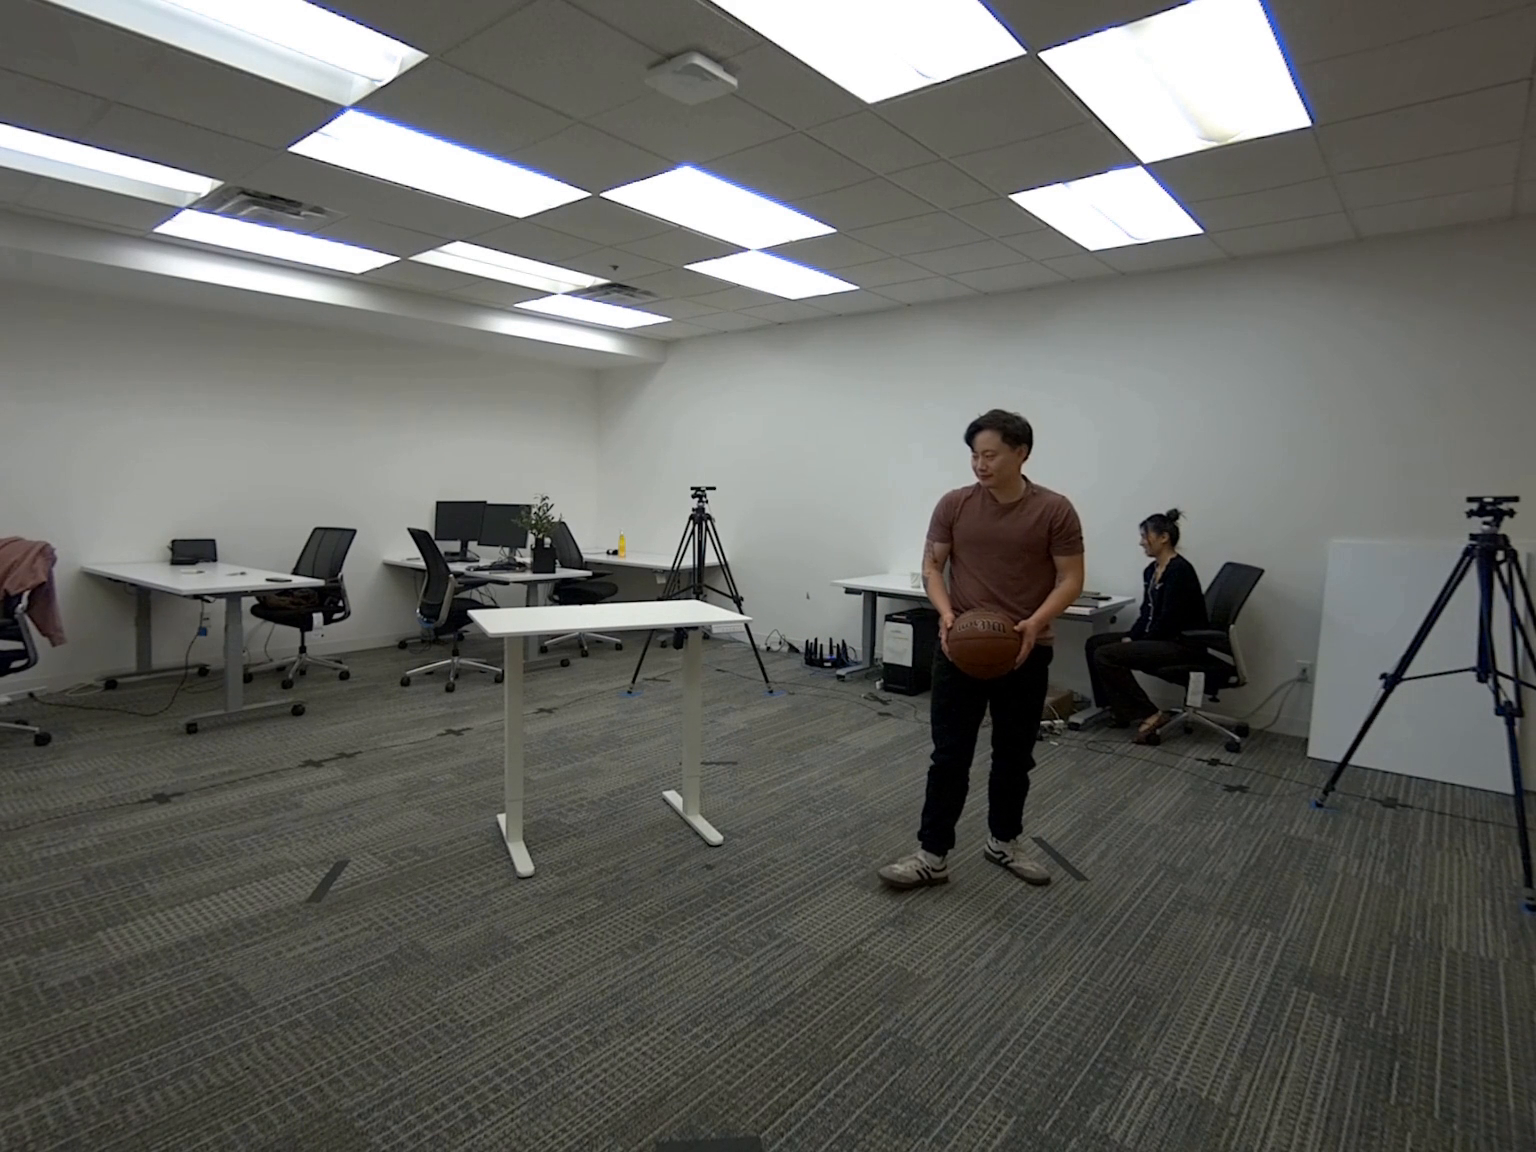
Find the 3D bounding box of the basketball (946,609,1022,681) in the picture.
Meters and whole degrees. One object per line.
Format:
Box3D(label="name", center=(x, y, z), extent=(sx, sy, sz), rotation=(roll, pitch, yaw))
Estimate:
Box3D(label="basketball", center=(0.715, 0.215, 2.832), extent=(0.235, 0.235, 0.237), rotation=(1, 4, -2))
